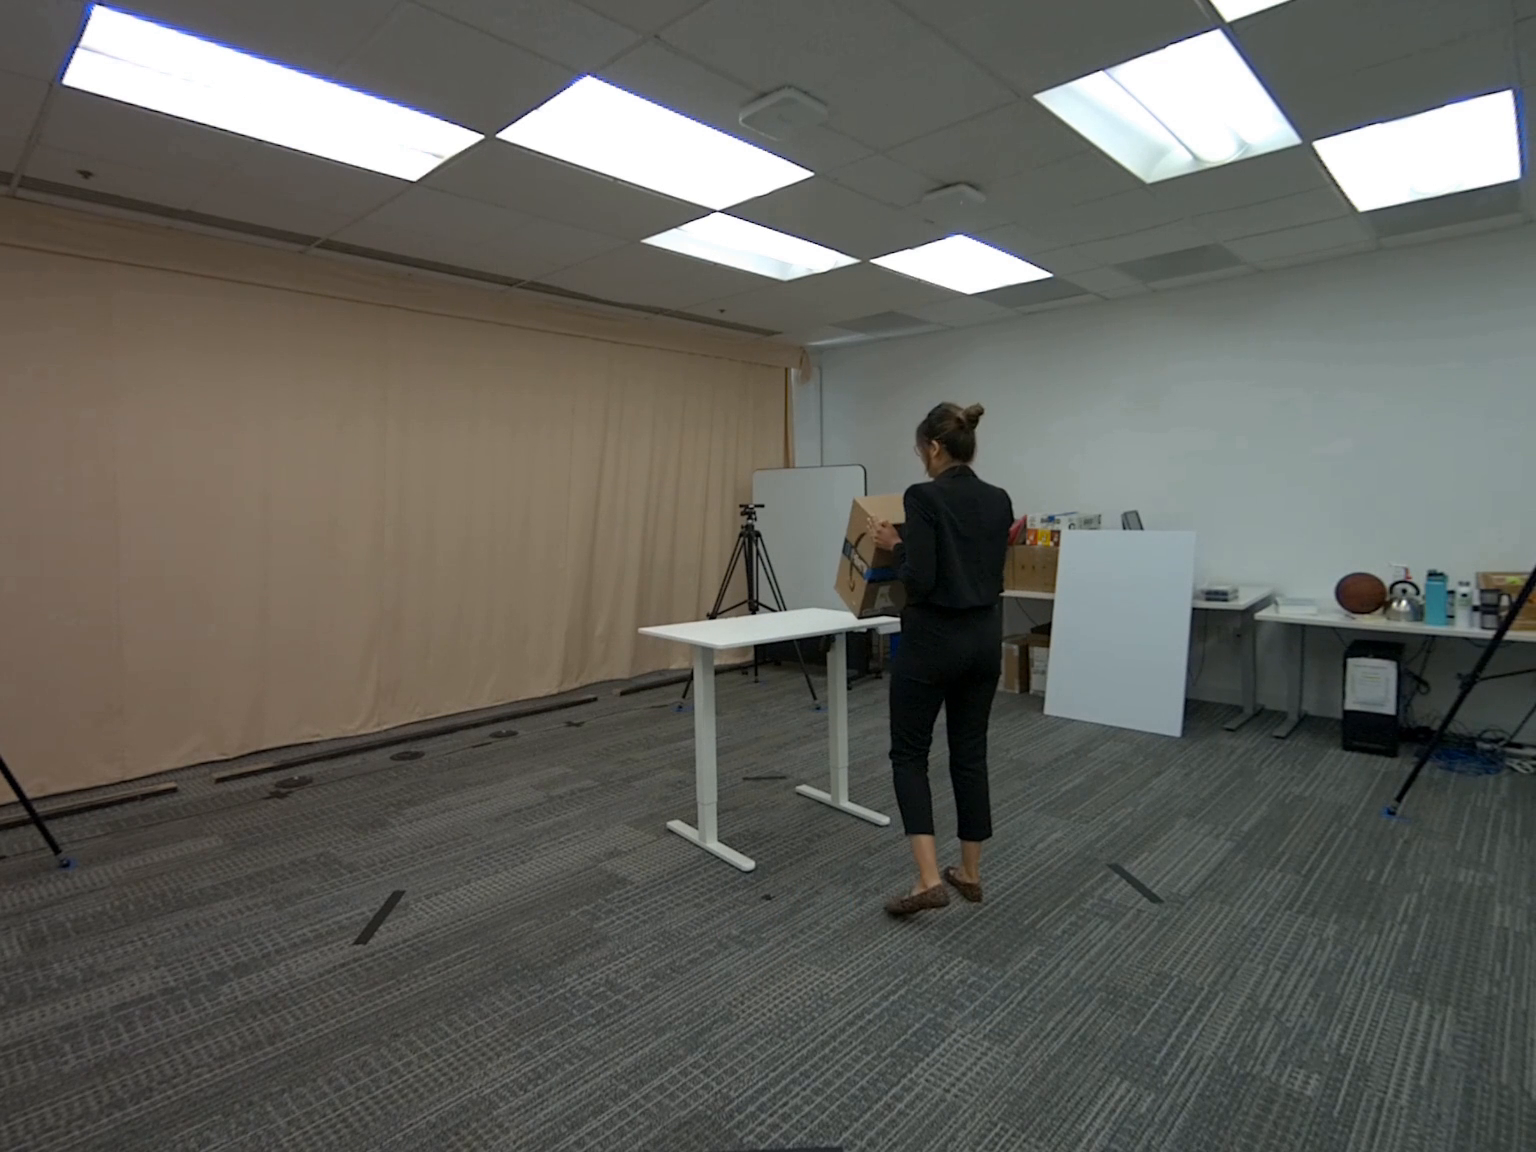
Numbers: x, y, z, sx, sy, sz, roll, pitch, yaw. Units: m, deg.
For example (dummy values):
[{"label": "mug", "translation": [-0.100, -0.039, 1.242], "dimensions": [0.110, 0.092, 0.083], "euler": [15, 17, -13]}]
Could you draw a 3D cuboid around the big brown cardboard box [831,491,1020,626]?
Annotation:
[{"label": "big brown cardboard box", "translation": [0.588, -0.092, 3.233], "dimensions": [0.578, 0.412, 0.241], "euler": [-7, 35, -20]}]
